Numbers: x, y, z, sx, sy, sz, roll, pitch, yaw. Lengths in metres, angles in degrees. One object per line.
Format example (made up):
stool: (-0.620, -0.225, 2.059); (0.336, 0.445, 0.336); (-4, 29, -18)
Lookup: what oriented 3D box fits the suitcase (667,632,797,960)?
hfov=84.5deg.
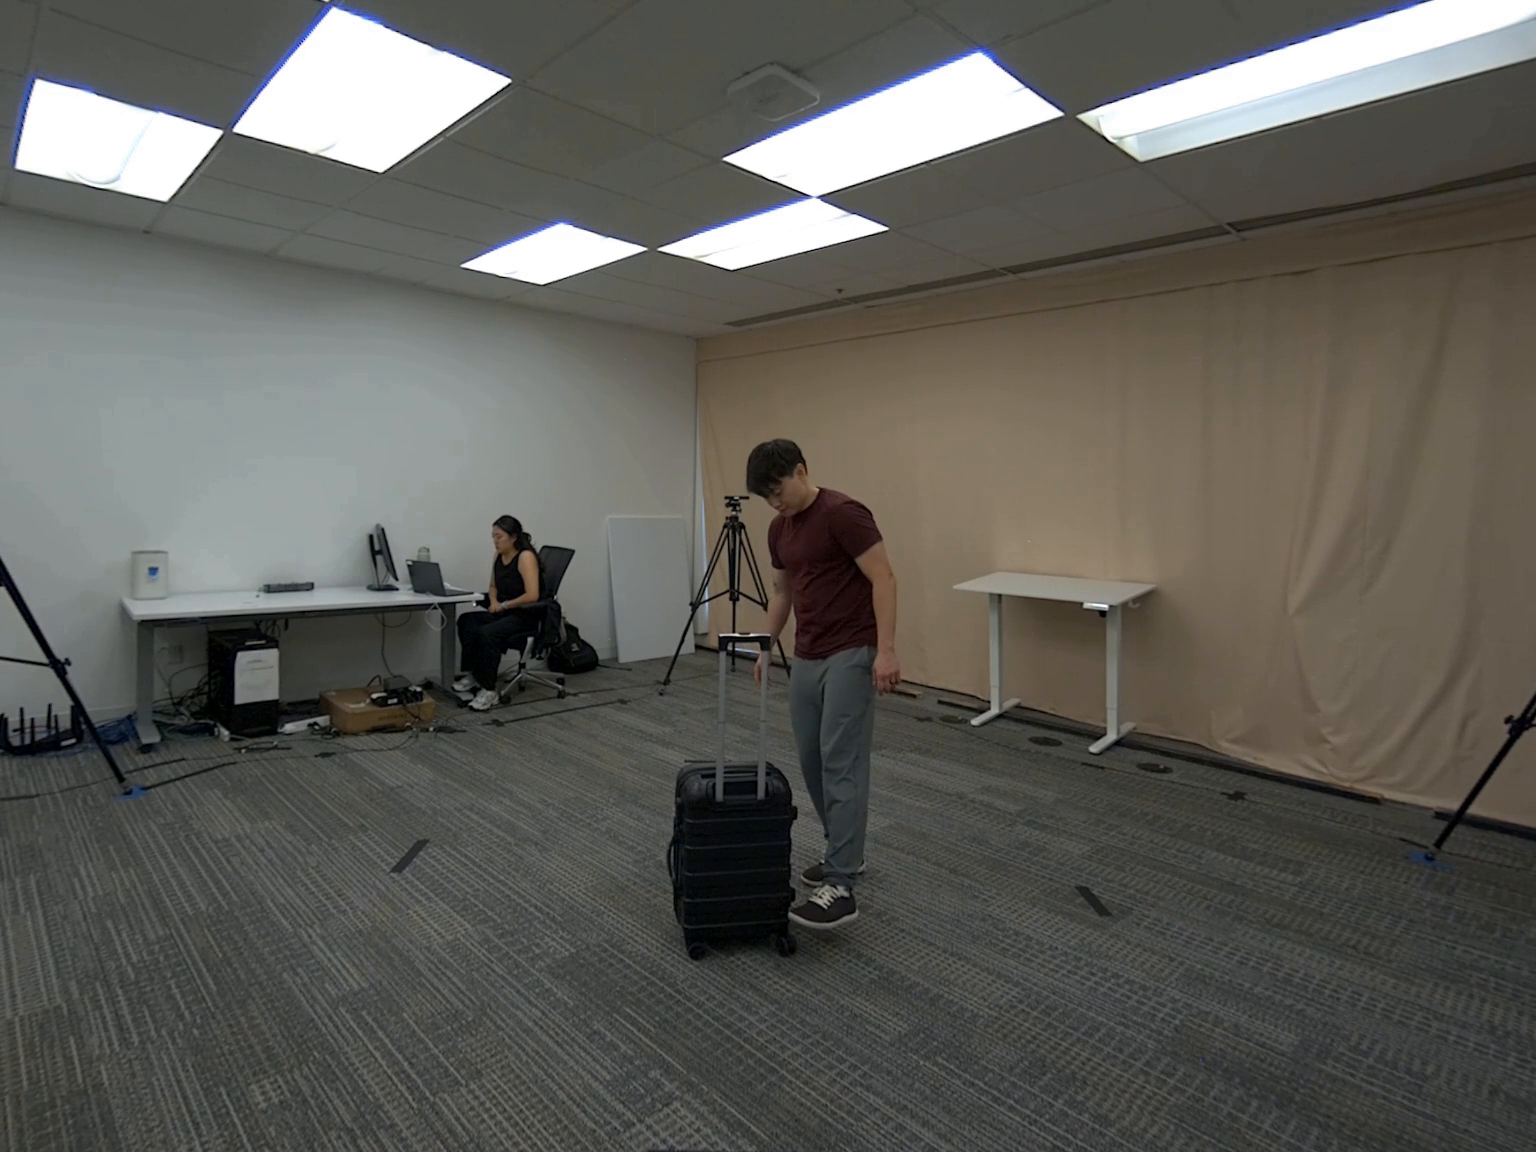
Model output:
suitcase: (-0.117, 0.673, 2.634); (0.381, 0.976, 0.259); (1, 3, -9)
